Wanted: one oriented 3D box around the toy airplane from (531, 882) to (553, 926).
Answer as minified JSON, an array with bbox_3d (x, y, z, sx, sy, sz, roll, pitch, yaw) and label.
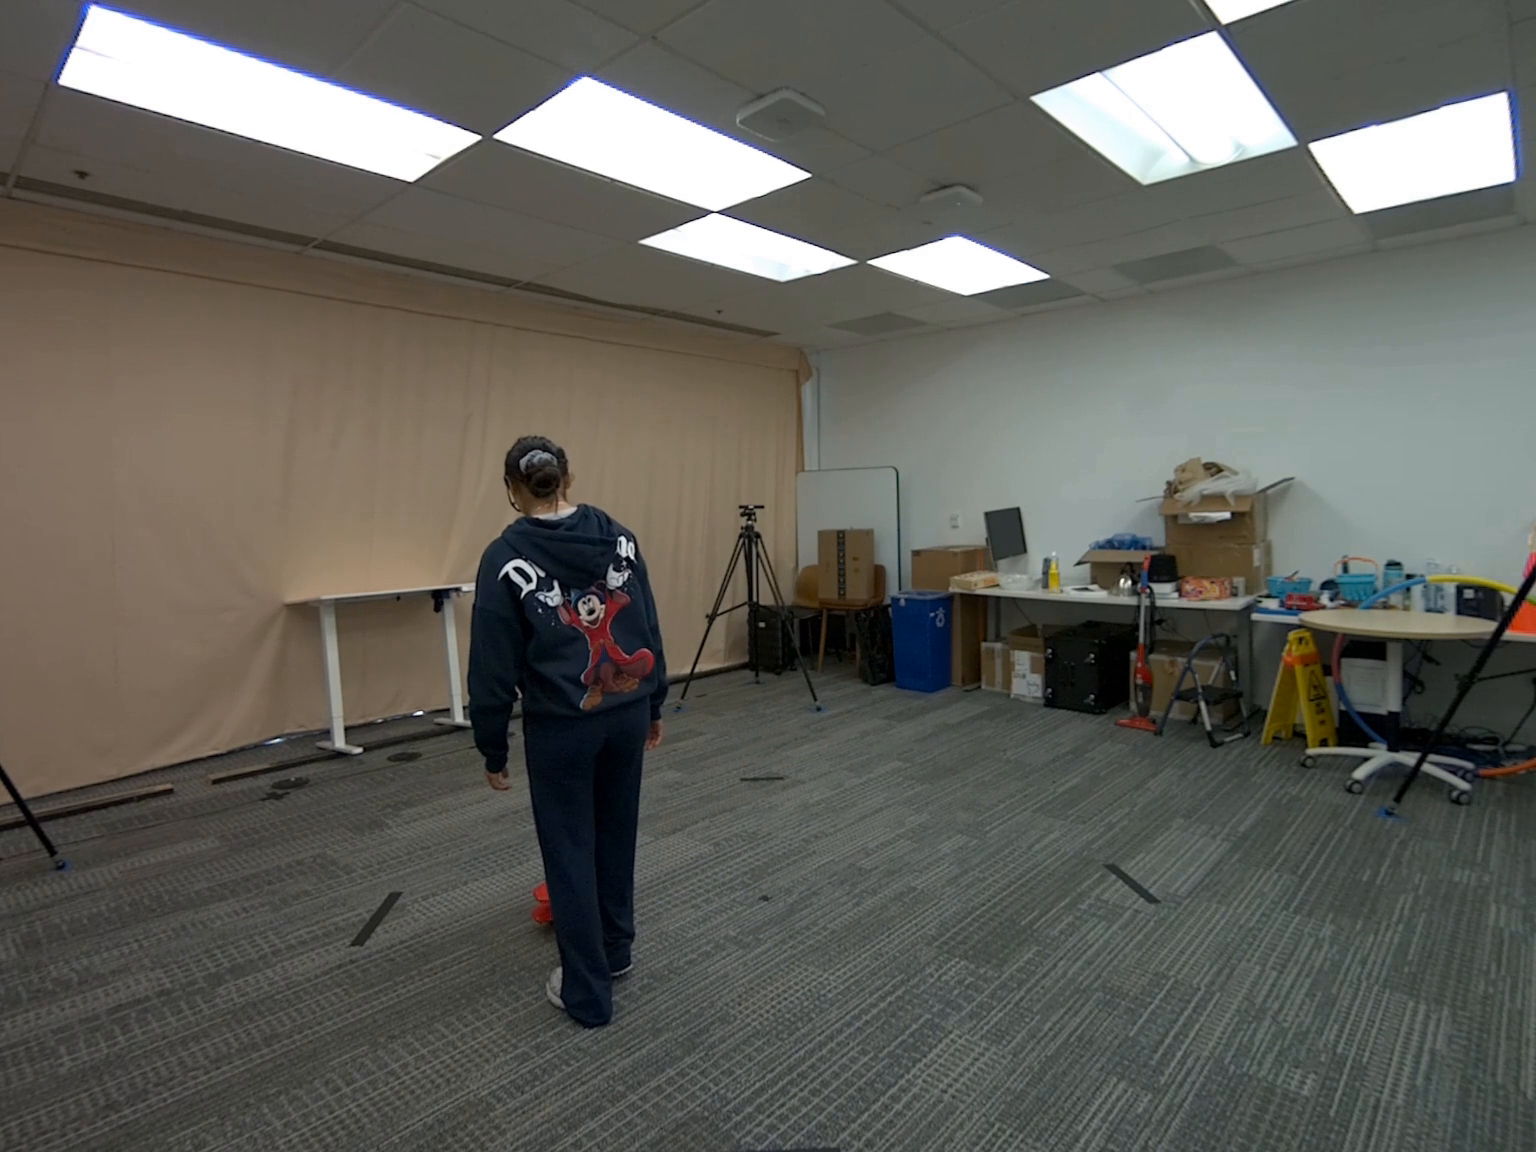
[{"bbox_3d":[-0.631,1.094,2.809,0.265,0.156,0.246,-1,4,22],"label":"toy airplane"}]
